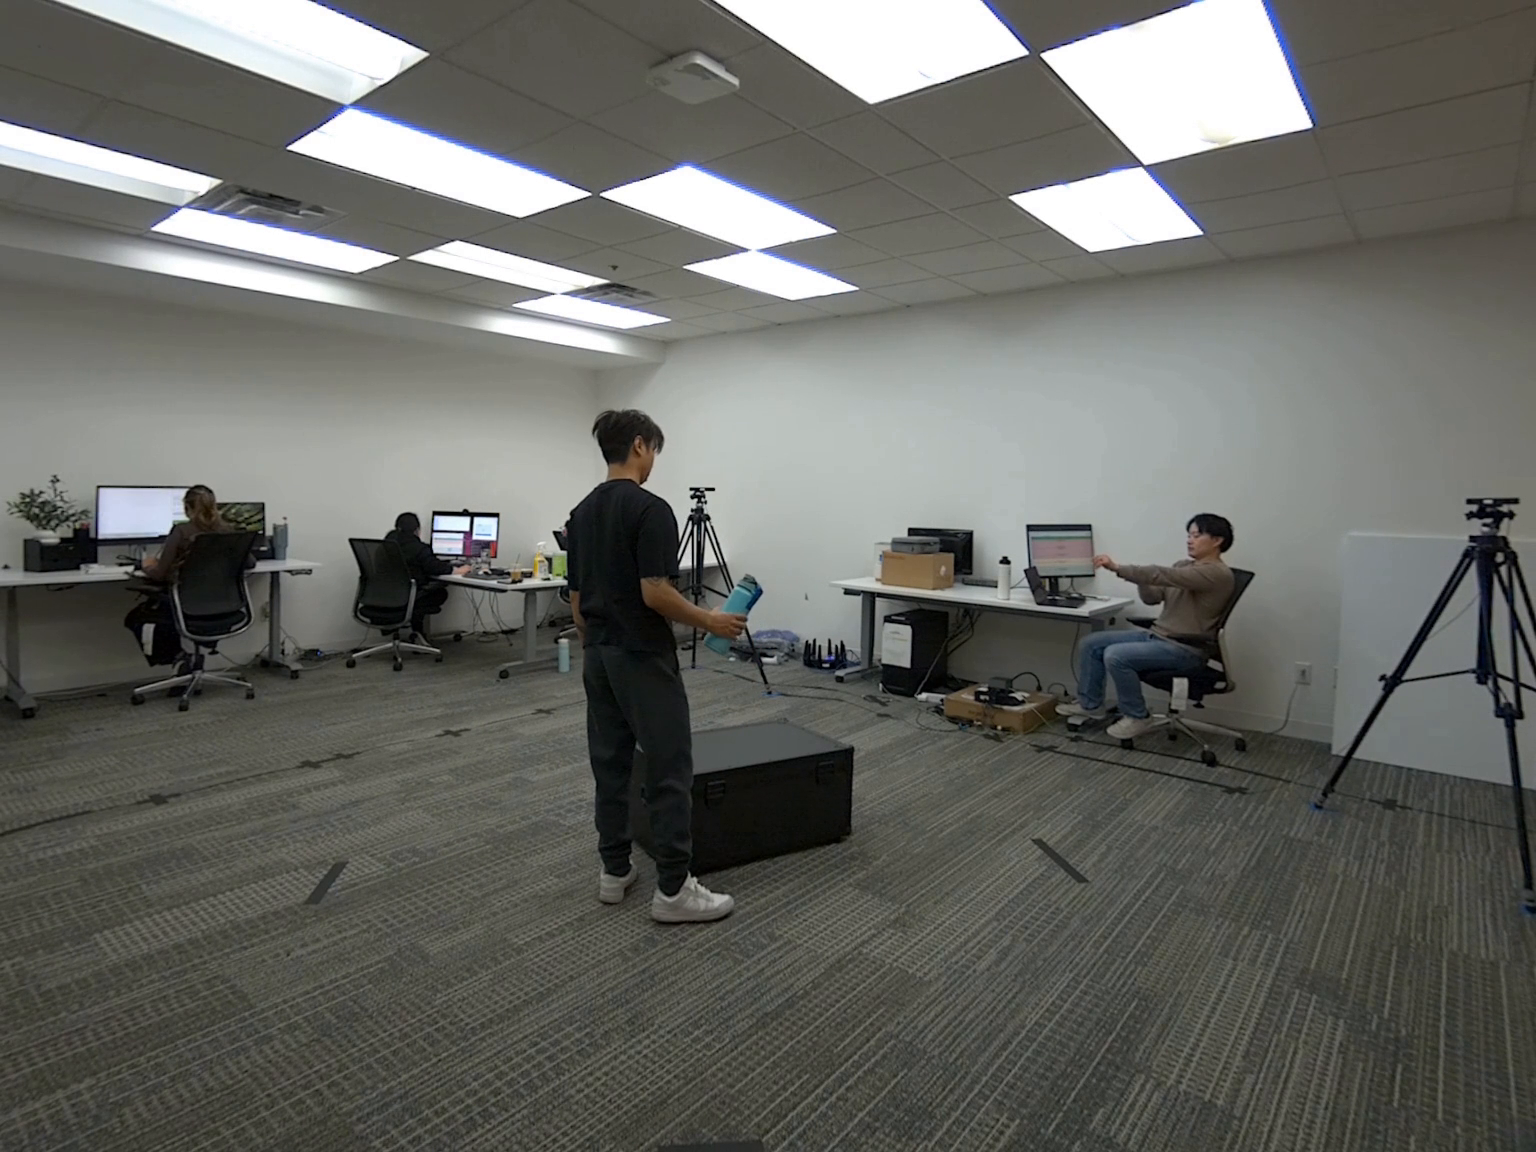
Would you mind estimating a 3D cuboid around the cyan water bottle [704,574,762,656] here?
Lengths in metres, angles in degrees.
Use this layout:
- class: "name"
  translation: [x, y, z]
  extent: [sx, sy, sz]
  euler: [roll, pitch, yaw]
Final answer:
- class: "cyan water bottle"
  translation: [-0.122, 0.129, 2.886]
  extent: [0.093, 0.284, 0.092]
  euler: [30, -8, 2]
